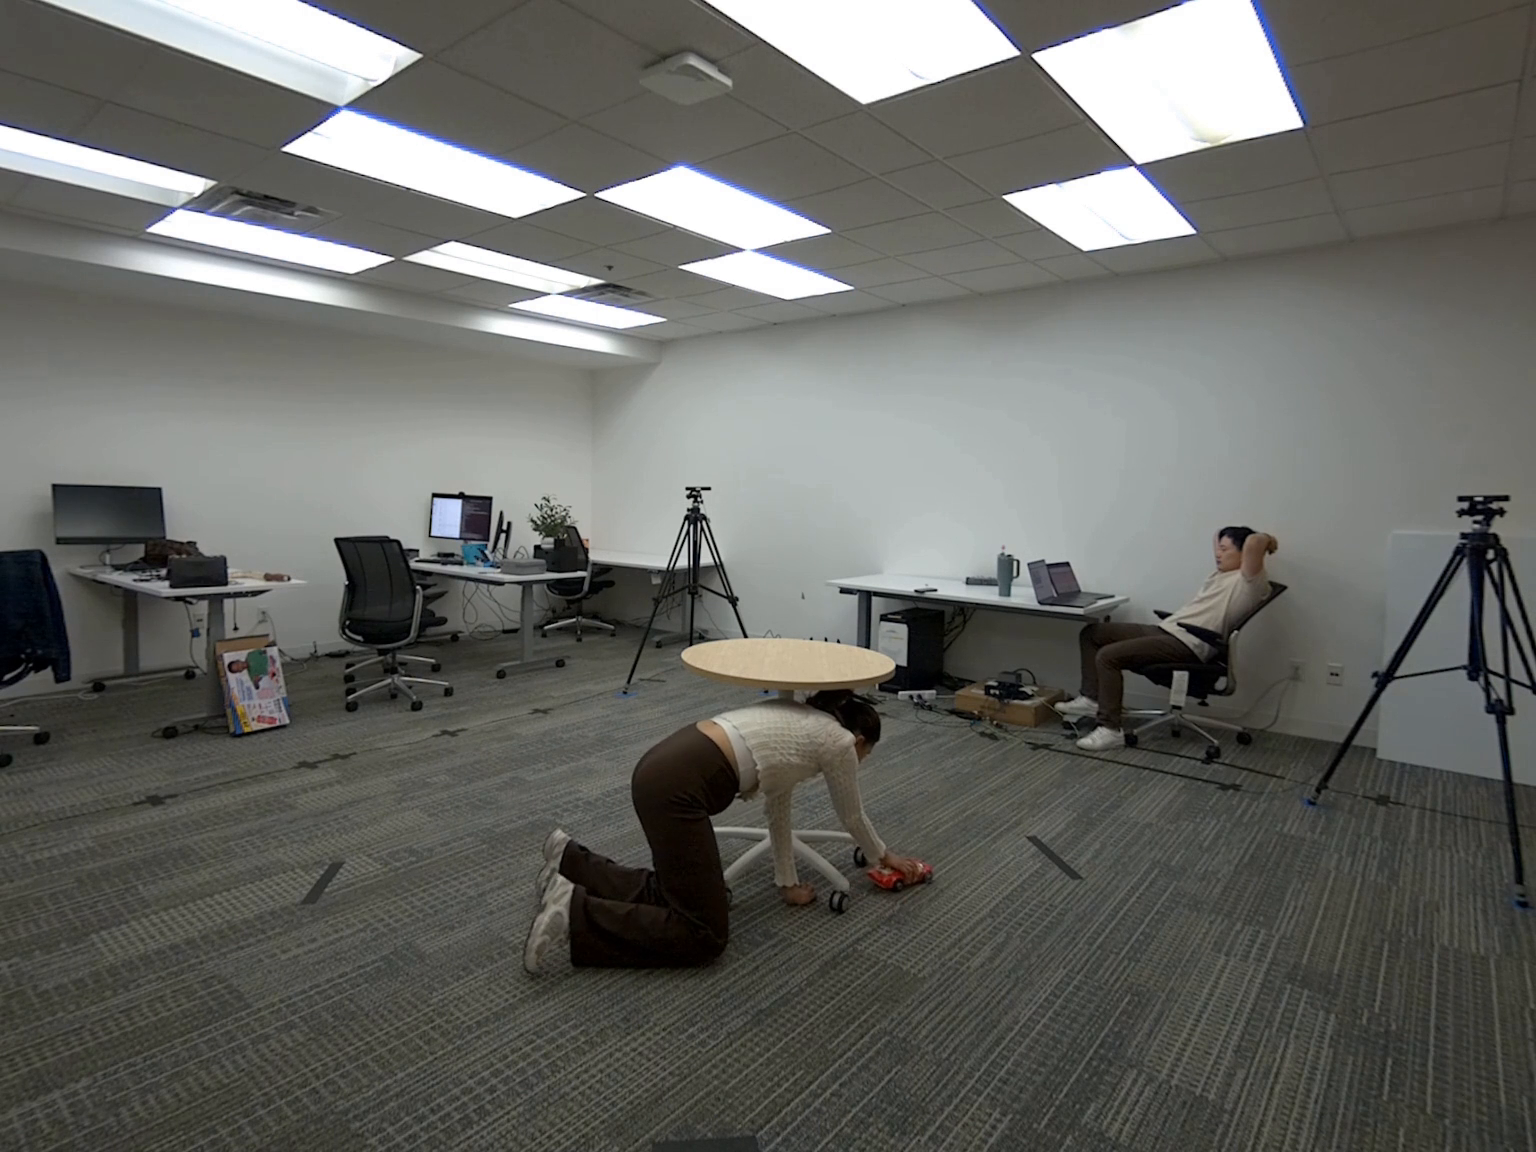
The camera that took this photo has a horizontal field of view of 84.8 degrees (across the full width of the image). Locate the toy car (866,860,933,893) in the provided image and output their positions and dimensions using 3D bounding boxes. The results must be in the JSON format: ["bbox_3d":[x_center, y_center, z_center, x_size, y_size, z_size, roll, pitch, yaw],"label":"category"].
[{"bbox_3d":[0.460,1.058,3.020,0.246,0.083,0.135,10,1,-33],"label":"toy car"}]
